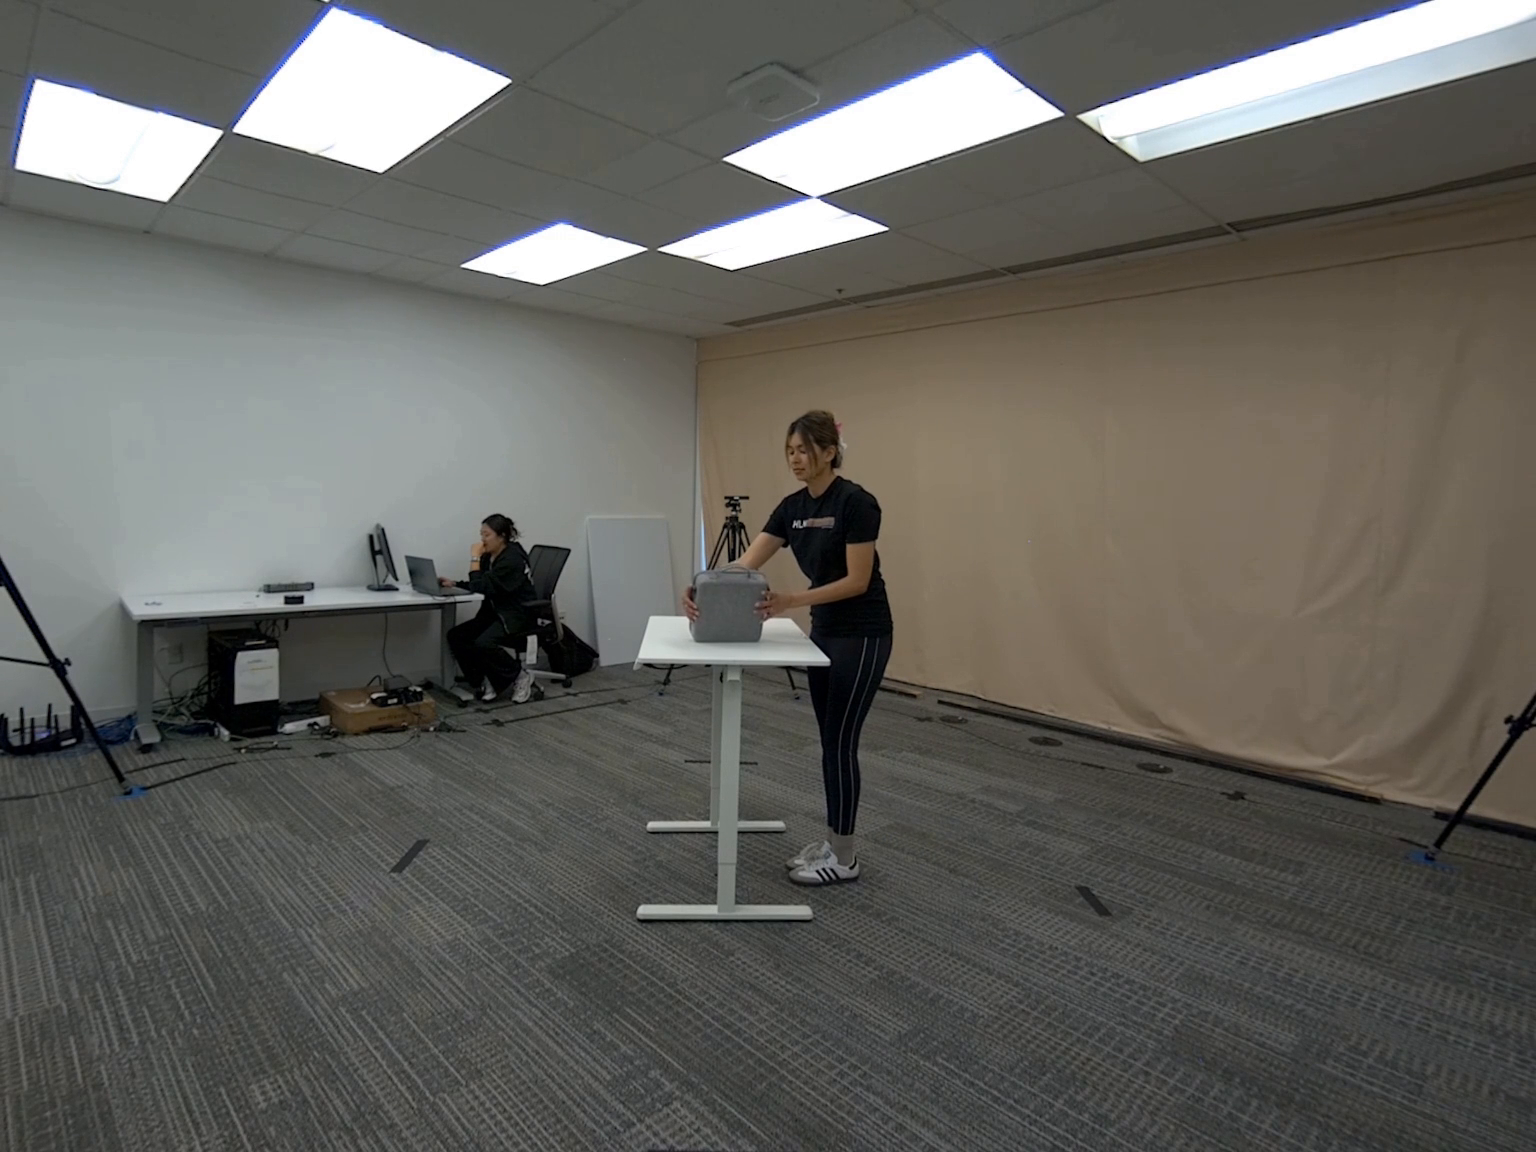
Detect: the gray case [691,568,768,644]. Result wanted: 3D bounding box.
[{"bbox_3d":[-0.138,0.107,2.934,0.254,0.257,0.107,0,25,-12],"label":"gray case"}]
